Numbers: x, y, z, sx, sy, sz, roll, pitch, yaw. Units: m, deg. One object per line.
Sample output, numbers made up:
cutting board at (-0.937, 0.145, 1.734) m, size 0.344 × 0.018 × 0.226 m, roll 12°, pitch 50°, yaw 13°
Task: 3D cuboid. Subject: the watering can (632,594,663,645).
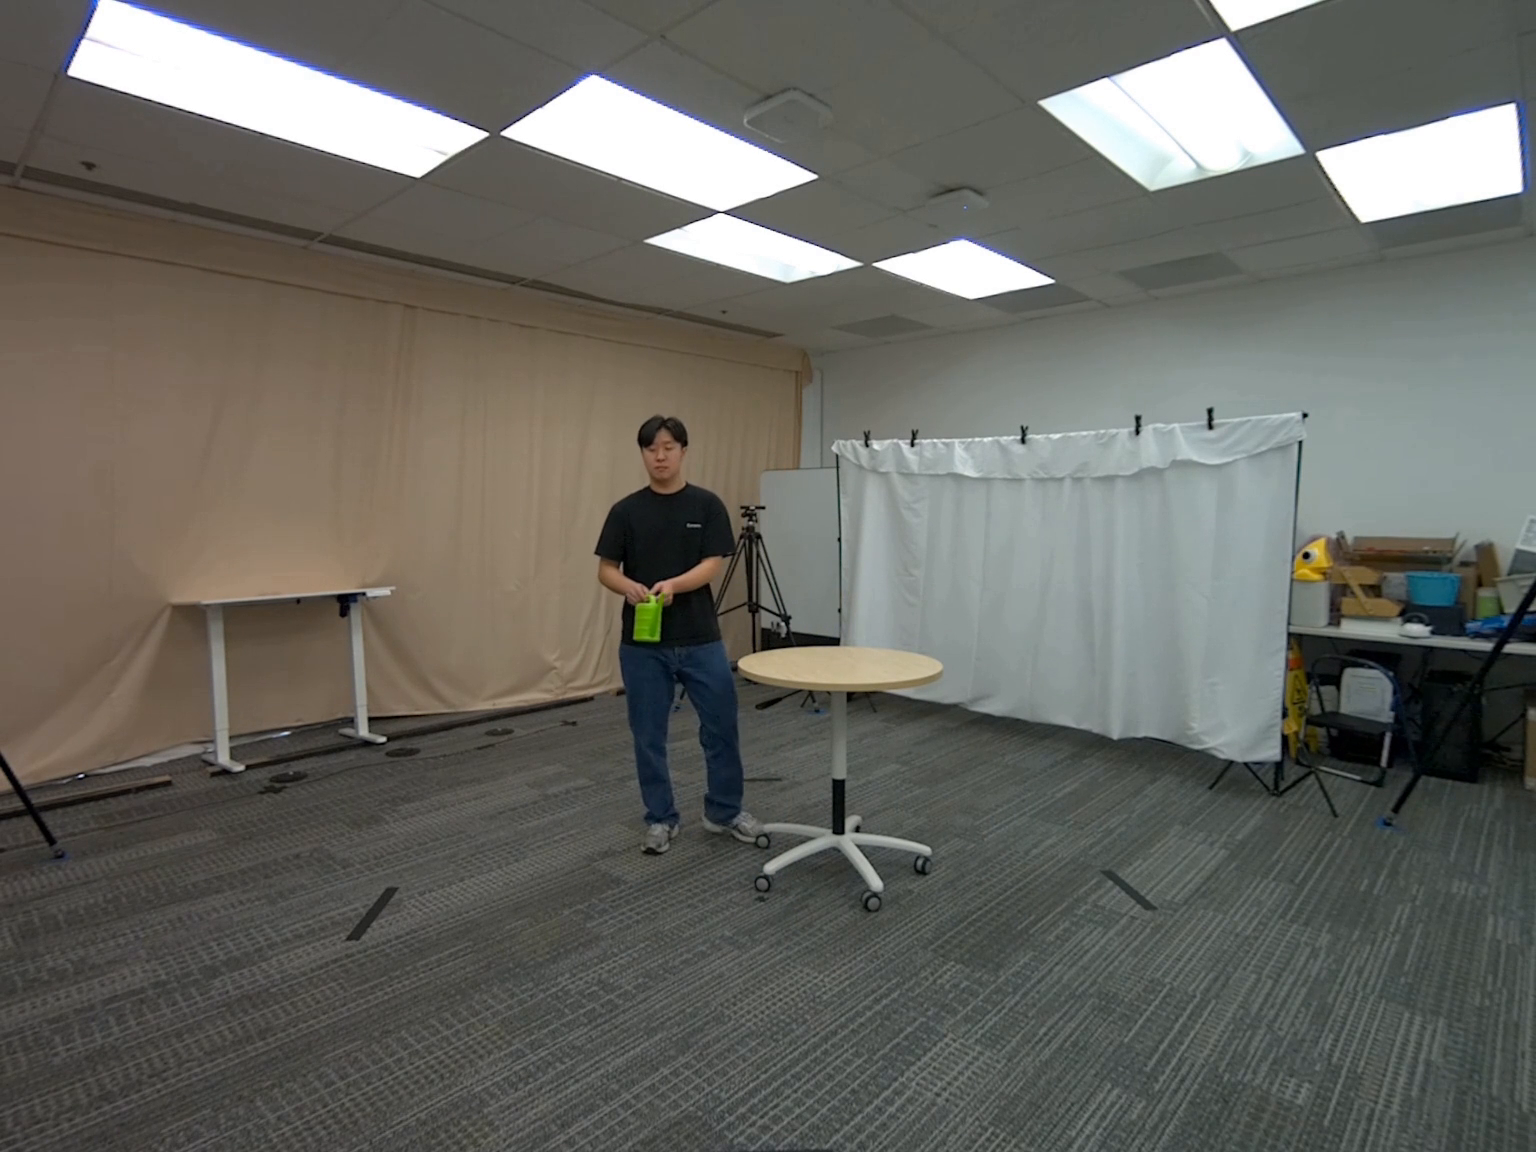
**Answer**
watering can at (-0.422, 0.148, 3.076) m, size 0.097 × 0.178 × 0.279 m, roll 5°, pitch -9°, yaw -10°
